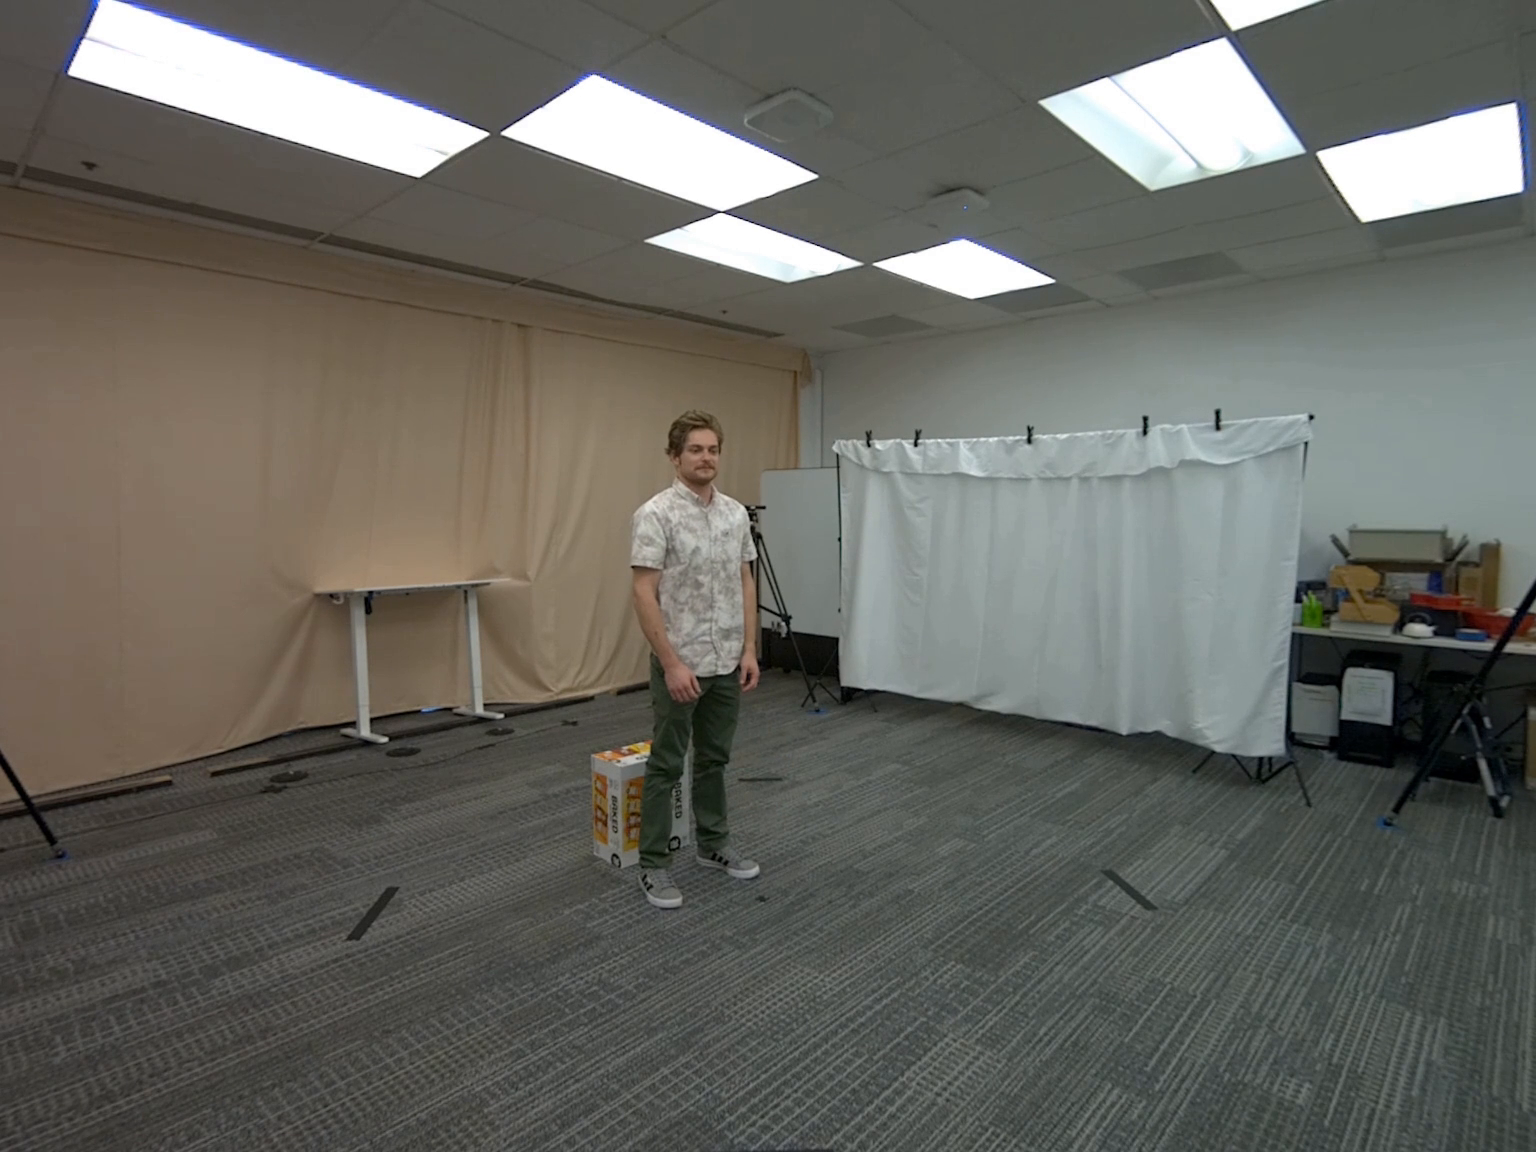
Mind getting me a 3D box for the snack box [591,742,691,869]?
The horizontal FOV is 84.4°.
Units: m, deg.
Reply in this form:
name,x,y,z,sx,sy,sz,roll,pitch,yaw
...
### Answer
name,x,y,z,sx,sy,sz,roll,pitch,yaw
snack box,-0.517,0.911,3.411,0.330,0.404,0.212,-4,5,-44
